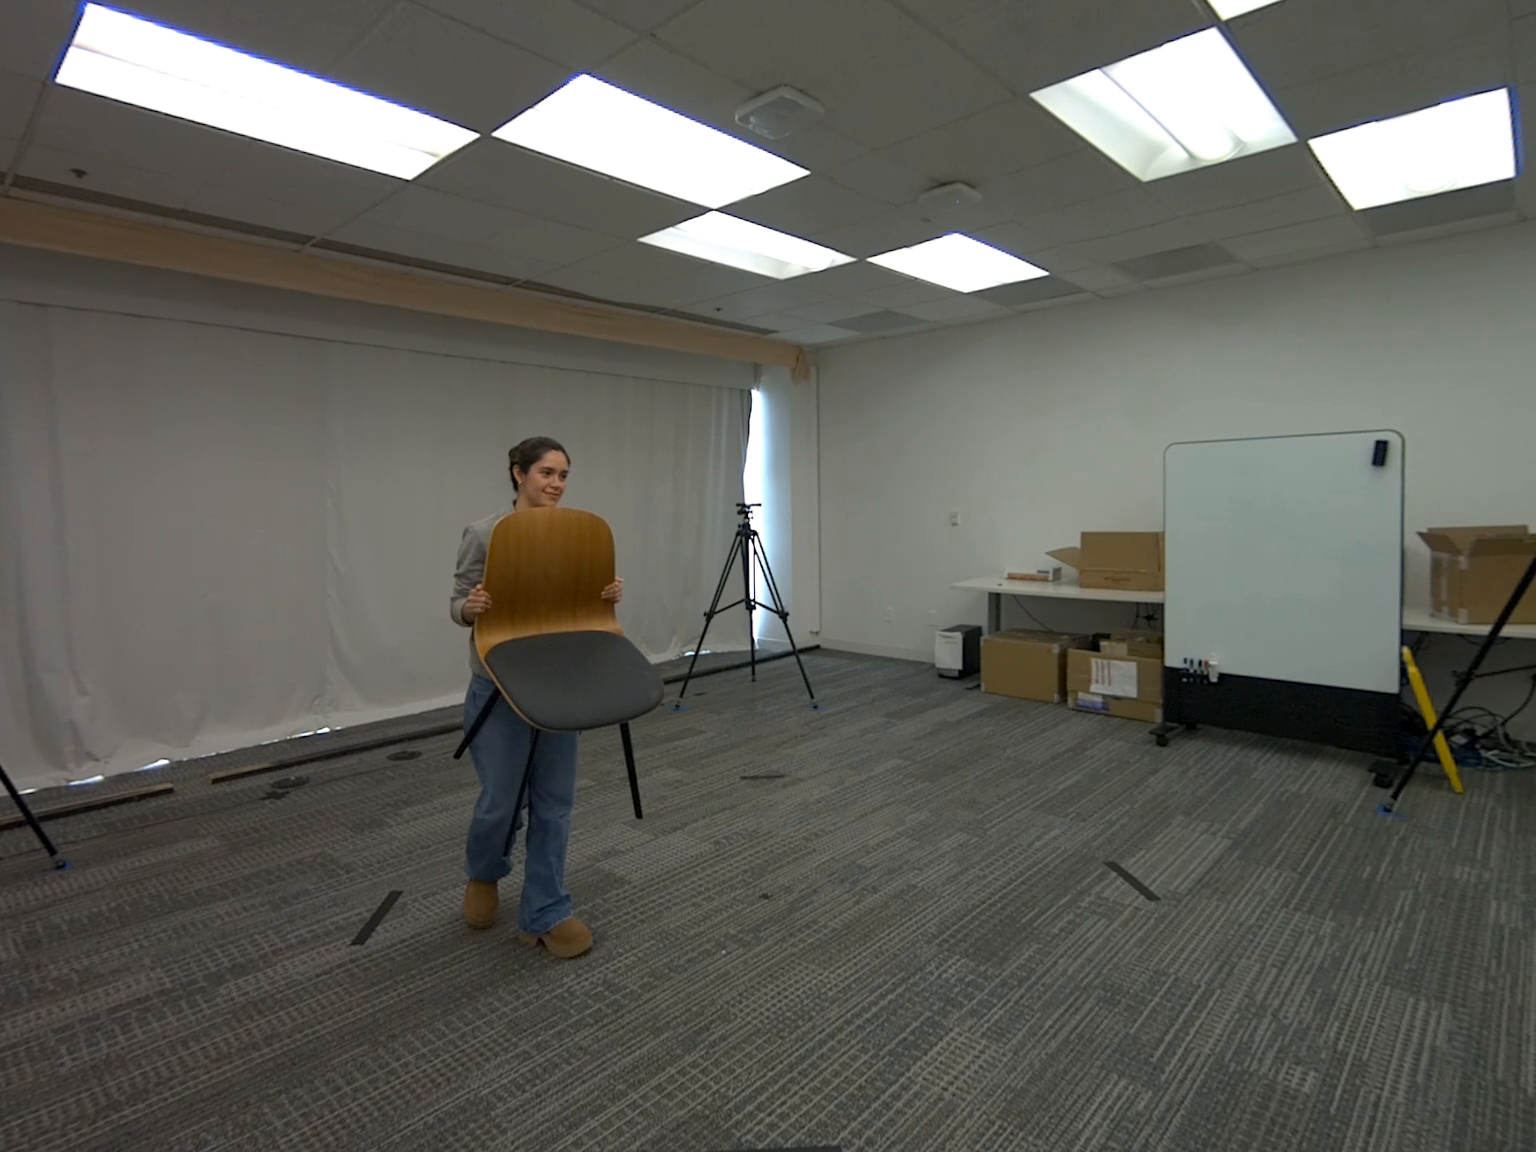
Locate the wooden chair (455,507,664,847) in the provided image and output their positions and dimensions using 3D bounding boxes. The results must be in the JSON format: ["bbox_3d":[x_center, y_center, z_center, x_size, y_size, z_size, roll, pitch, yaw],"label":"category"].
[{"bbox_3d":[-0.588,0.299,2.478,0.464,0.871,0.543,-3,25,-38],"label":"wooden chair"}]
